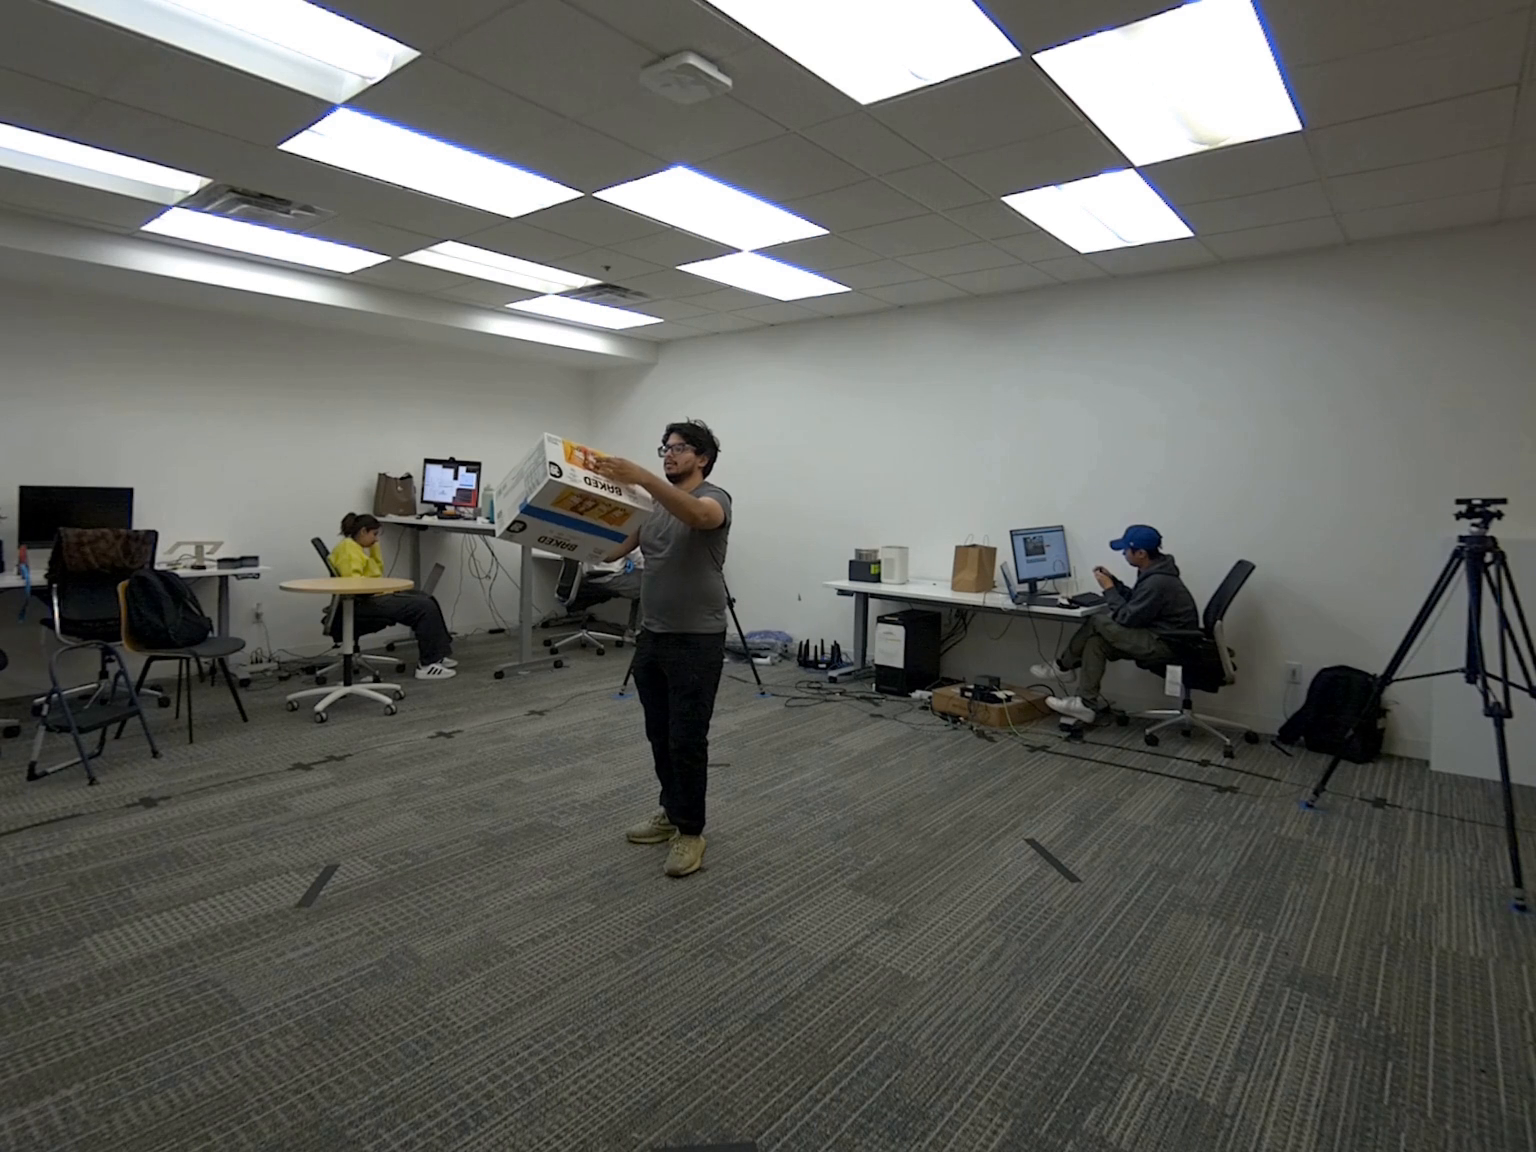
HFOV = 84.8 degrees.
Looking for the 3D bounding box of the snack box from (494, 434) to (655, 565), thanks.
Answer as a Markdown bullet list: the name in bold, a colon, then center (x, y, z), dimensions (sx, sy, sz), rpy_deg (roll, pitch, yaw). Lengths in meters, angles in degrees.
- **snack box**: center (-0.672, -0.252, 2.884), dimensions (0.390, 0.212, 0.342), rpy_deg (18, -45, -40)
